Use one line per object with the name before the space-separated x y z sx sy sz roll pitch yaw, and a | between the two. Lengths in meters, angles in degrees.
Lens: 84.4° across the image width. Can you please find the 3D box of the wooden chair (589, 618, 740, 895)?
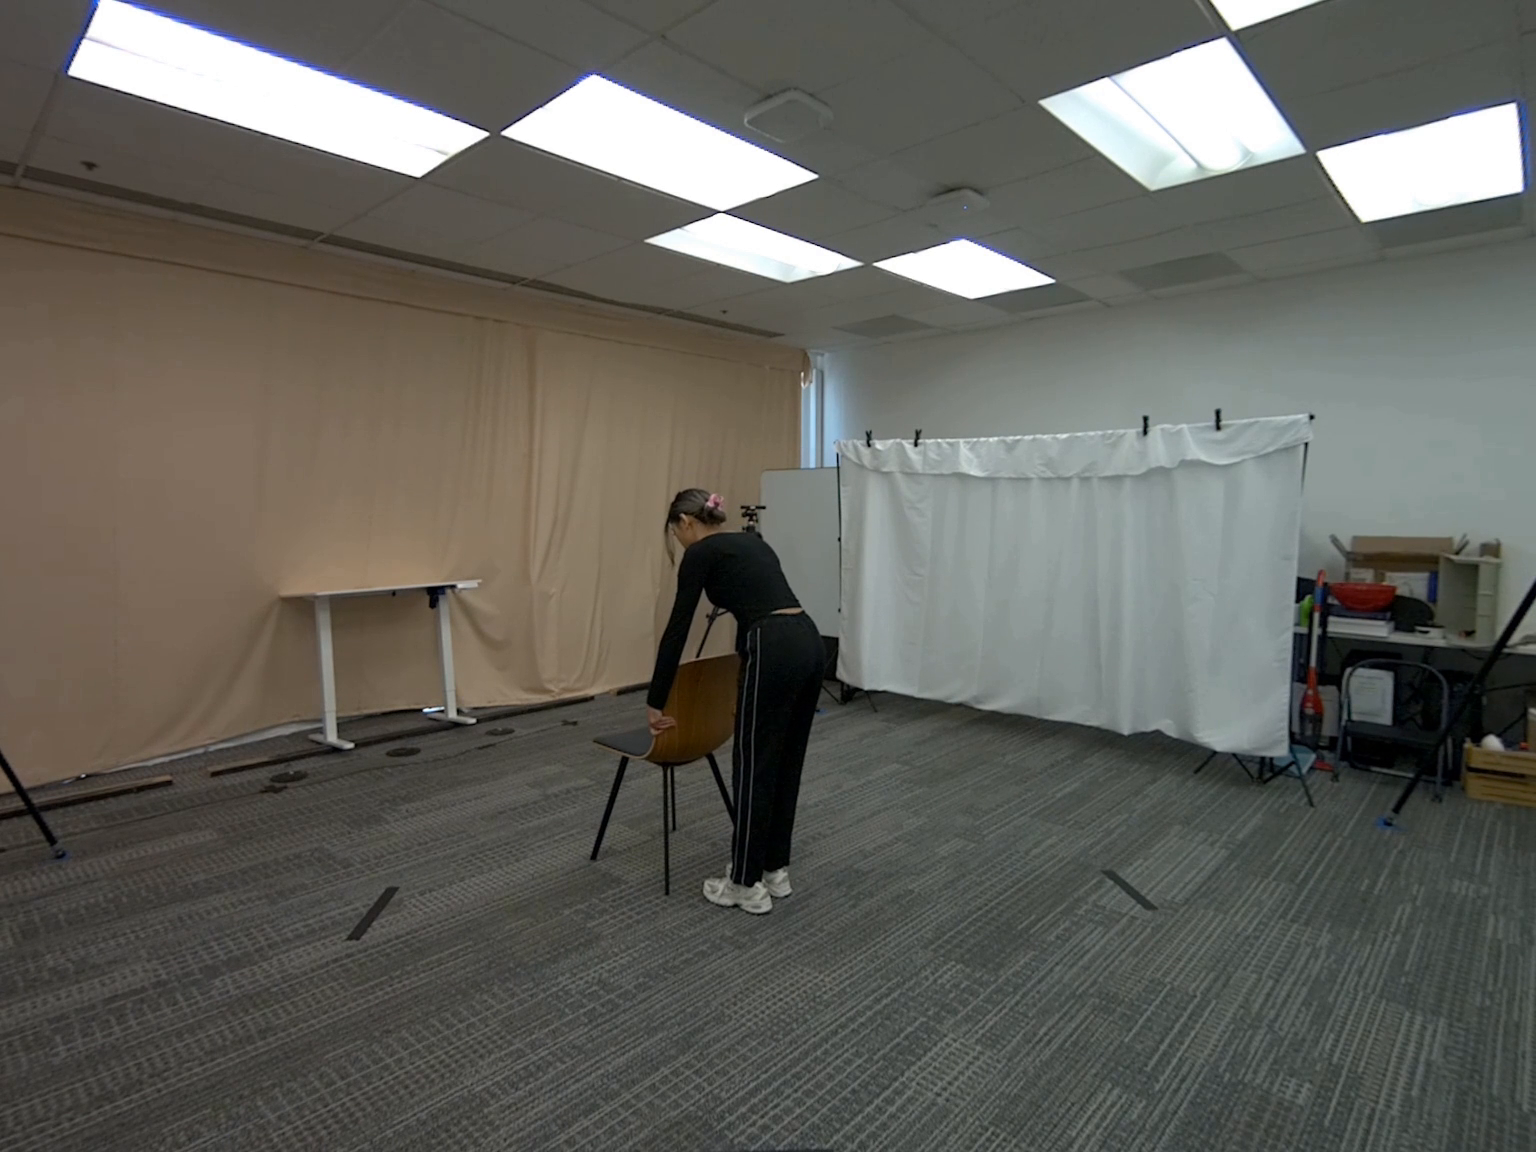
wooden chair | -0.395 0.691 3.303 0.541 0.874 0.463 9 9 43
